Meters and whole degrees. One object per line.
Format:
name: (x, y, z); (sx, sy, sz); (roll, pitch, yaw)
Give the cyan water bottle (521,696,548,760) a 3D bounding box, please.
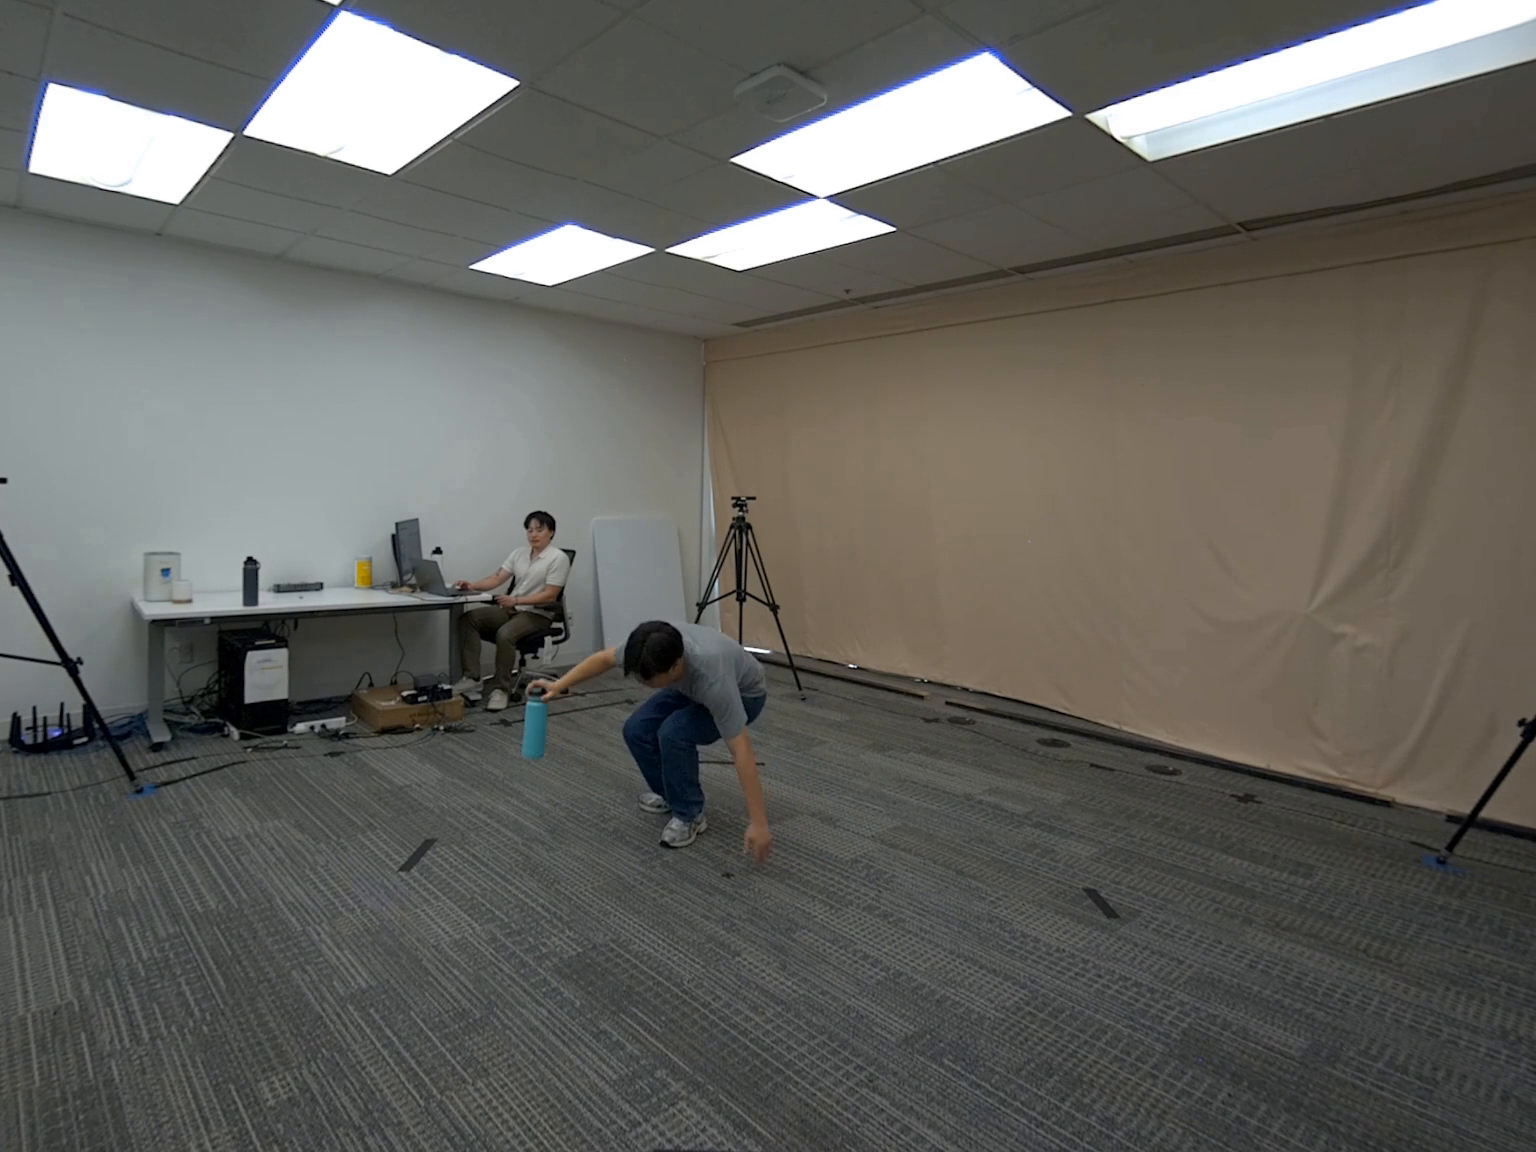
cyan water bottle: (-0.932, 0.587, 3.446); (0.092, 0.284, 0.092); (4, -1, -1)
